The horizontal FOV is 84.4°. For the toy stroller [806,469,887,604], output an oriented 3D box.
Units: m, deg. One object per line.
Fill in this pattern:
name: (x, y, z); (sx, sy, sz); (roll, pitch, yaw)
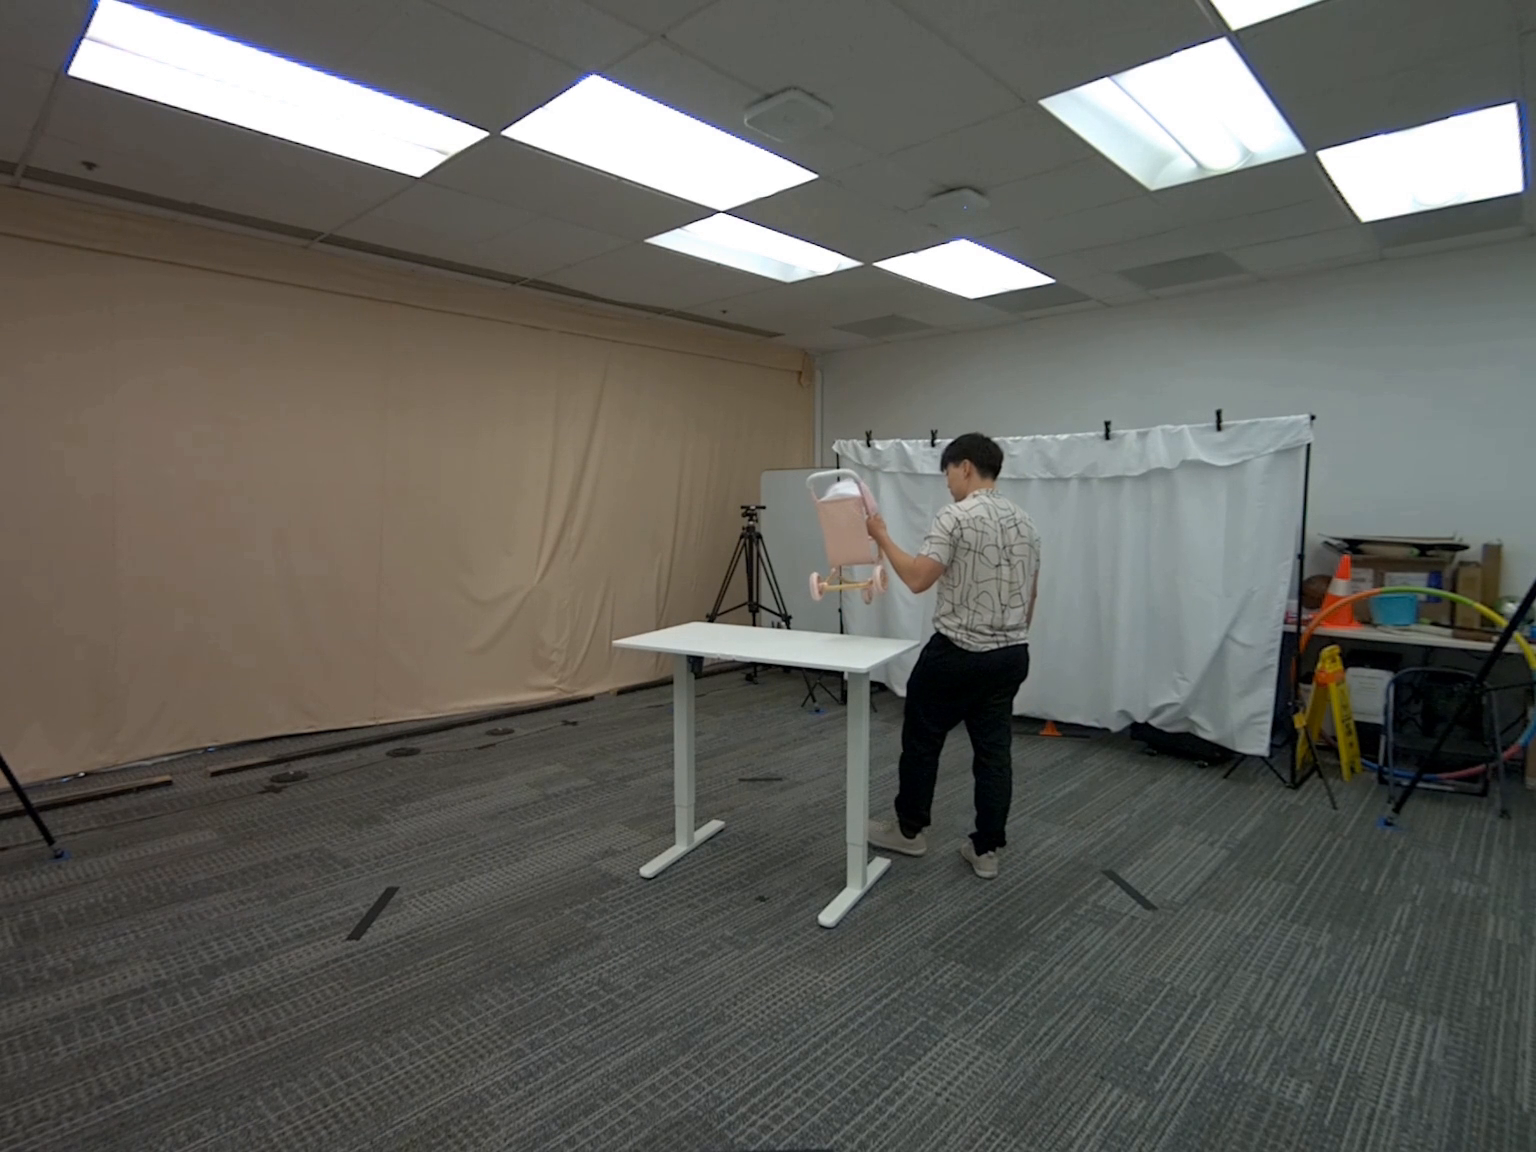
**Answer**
toy stroller: (0.324, -0.134, 3.262); (0.288, 0.535, 0.333); (-8, 0, 28)
